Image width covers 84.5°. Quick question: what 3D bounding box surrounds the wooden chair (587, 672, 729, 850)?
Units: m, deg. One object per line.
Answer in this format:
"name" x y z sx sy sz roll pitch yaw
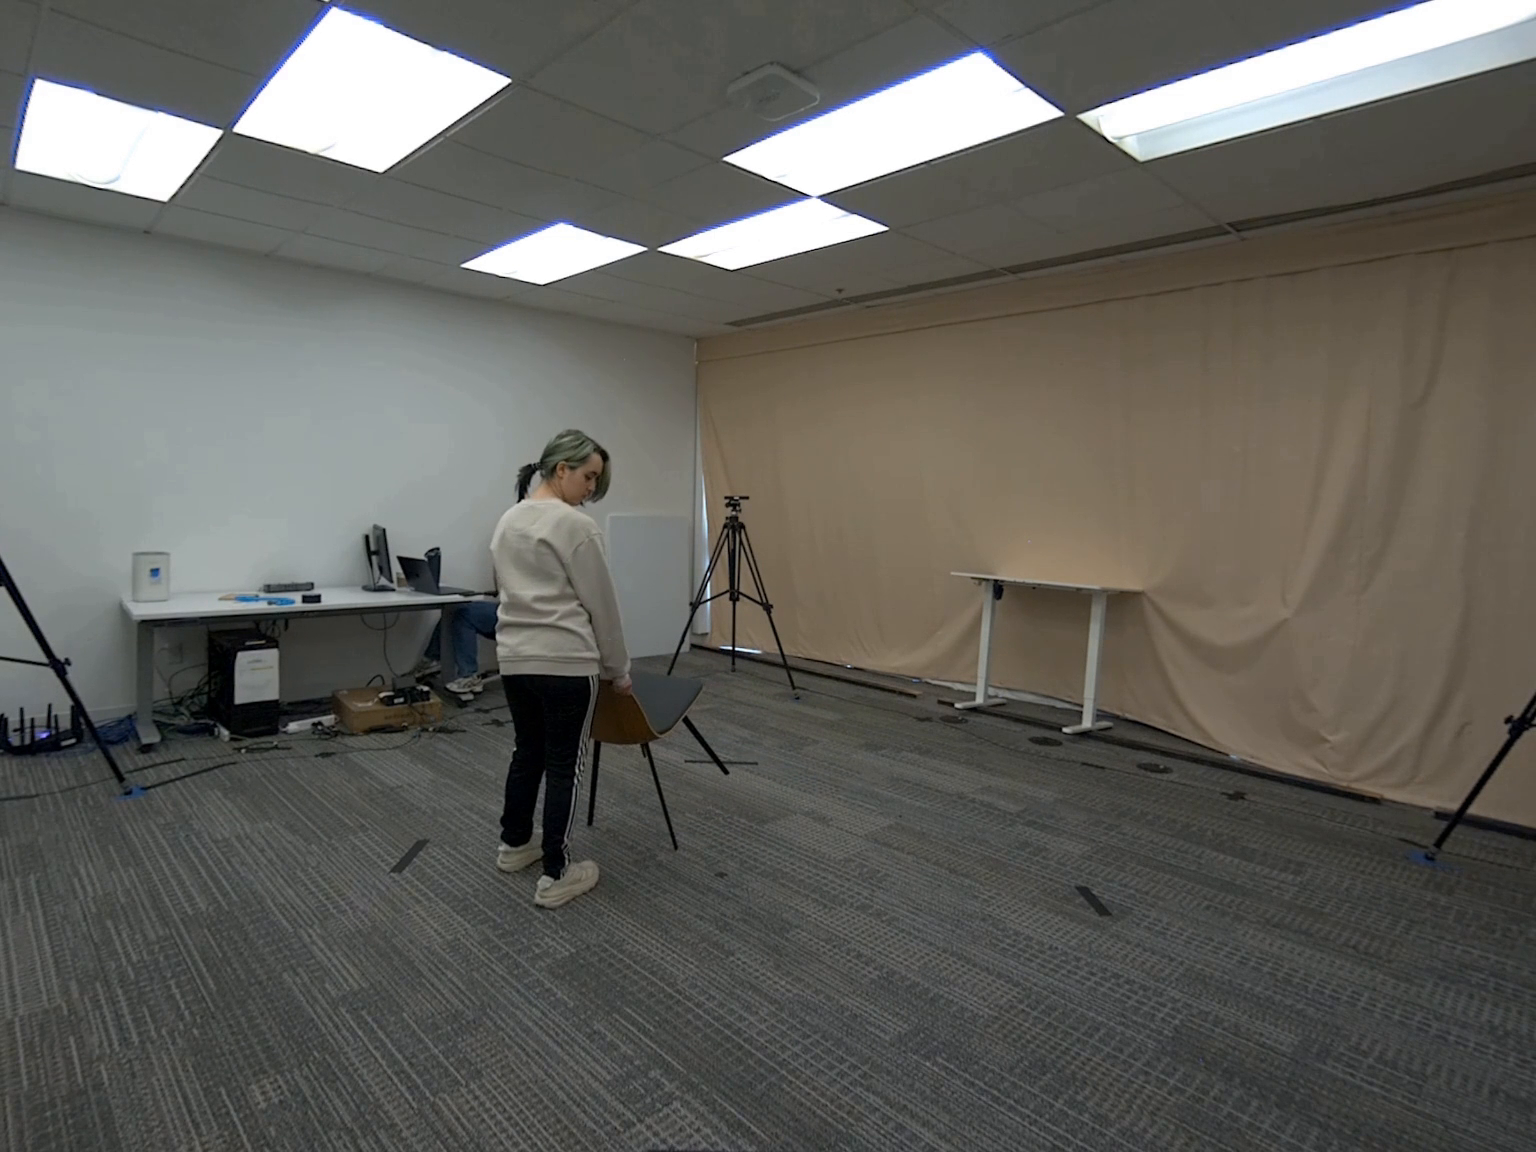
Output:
"wooden chair" -0.537 0.581 3.418 0.488 0.857 0.524 4 34 29
